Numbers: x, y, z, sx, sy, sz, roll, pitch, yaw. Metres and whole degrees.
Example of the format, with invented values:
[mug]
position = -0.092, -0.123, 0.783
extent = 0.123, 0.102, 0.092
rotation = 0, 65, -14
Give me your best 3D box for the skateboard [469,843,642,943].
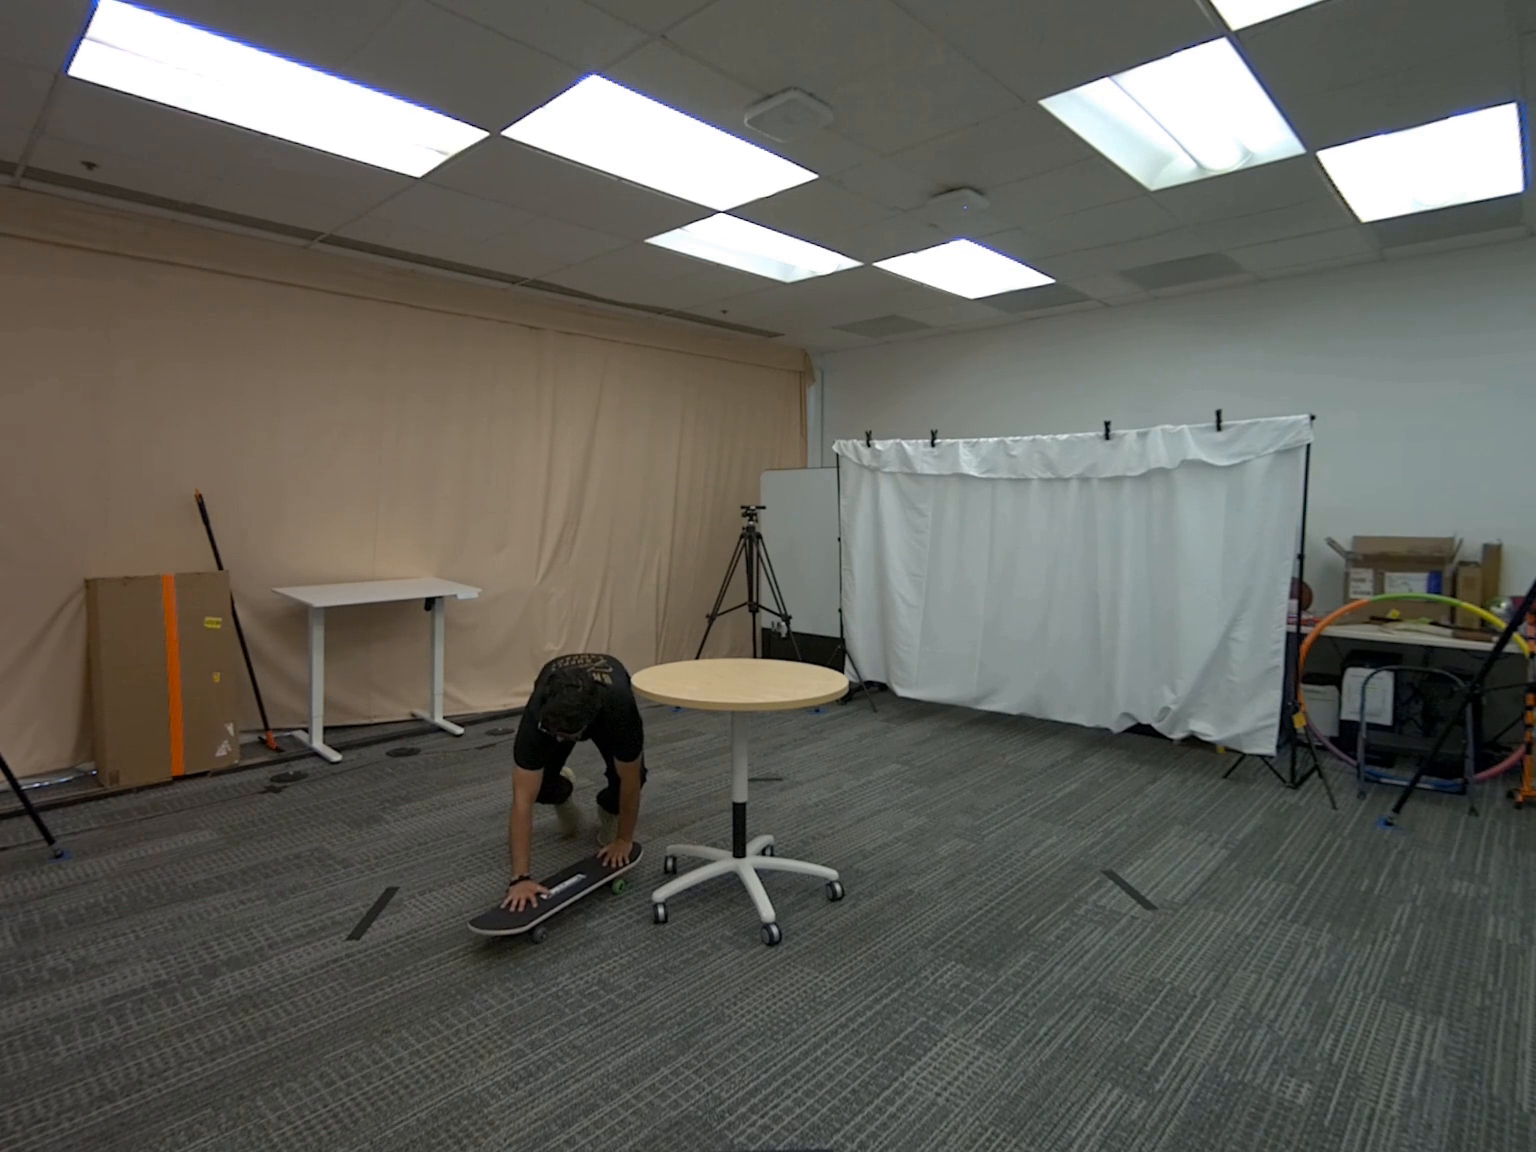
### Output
[skateboard]
position = -0.696, 1.090, 2.903
extent = 0.199, 0.110, 0.764
rotation = 0, 4, 30
